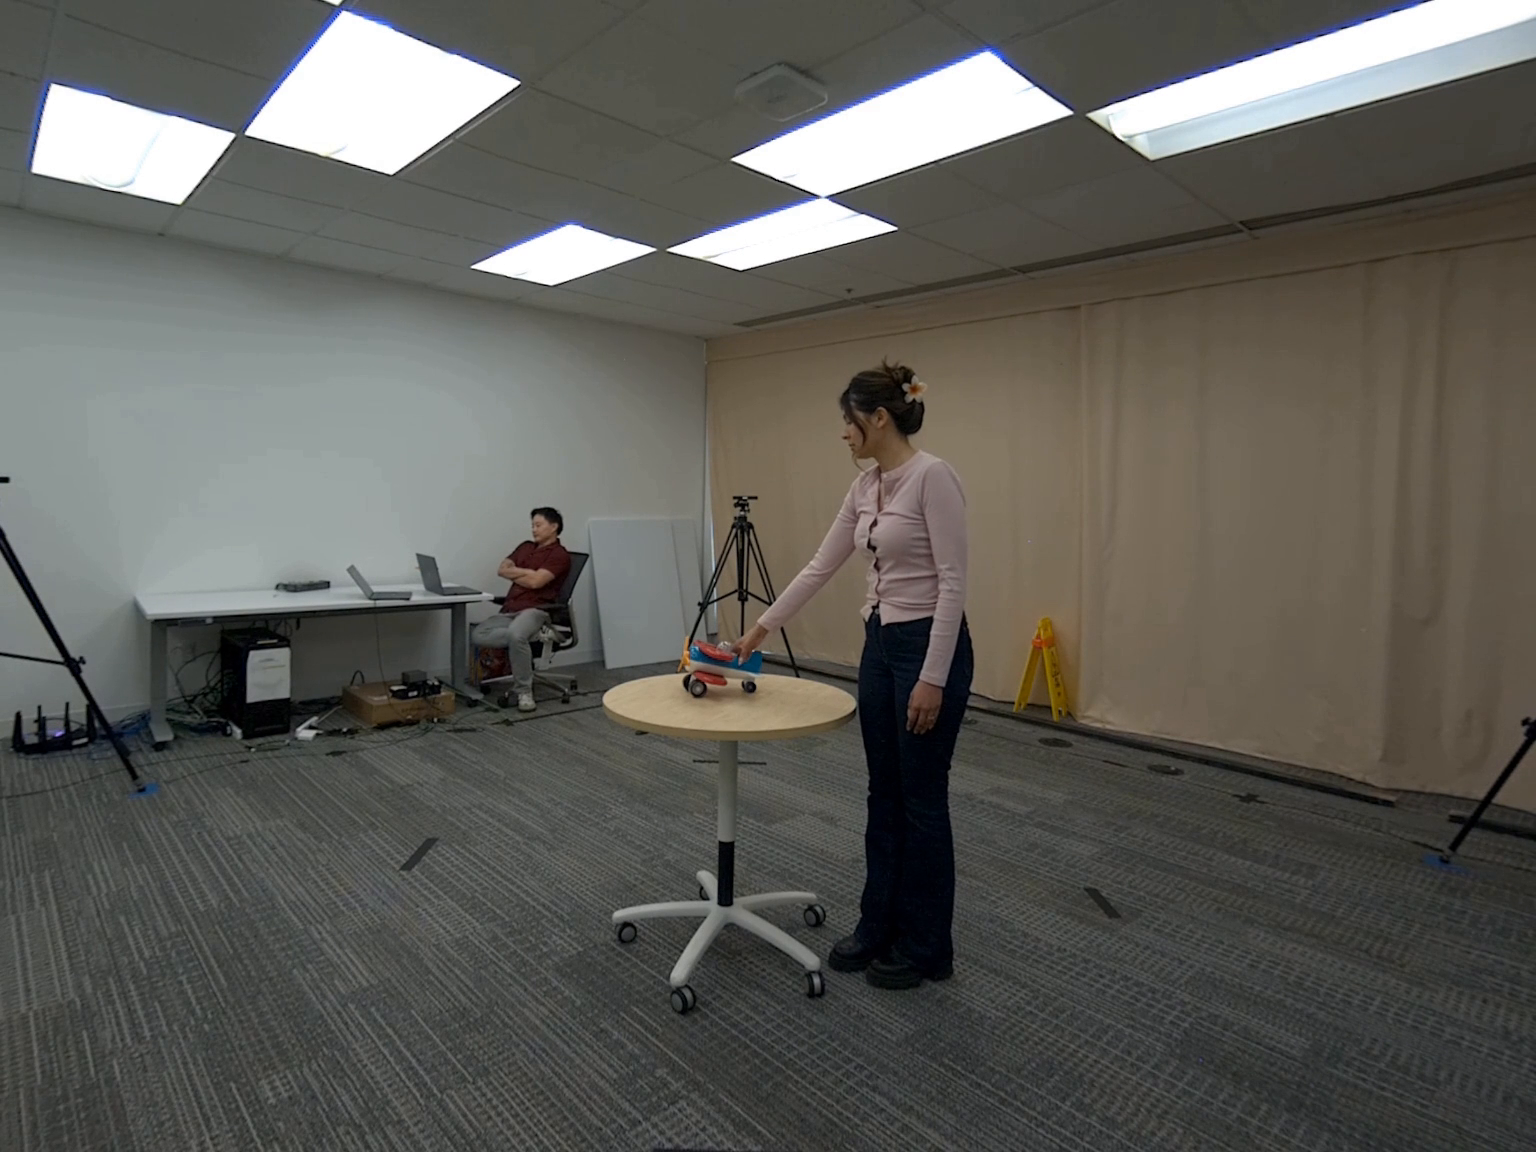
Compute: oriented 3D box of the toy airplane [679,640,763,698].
[{"bbox_3d":[-0.153,0.287,2.633,0.253,0.156,0.257,-3,6,-42],"label":"toy airplane"}]
